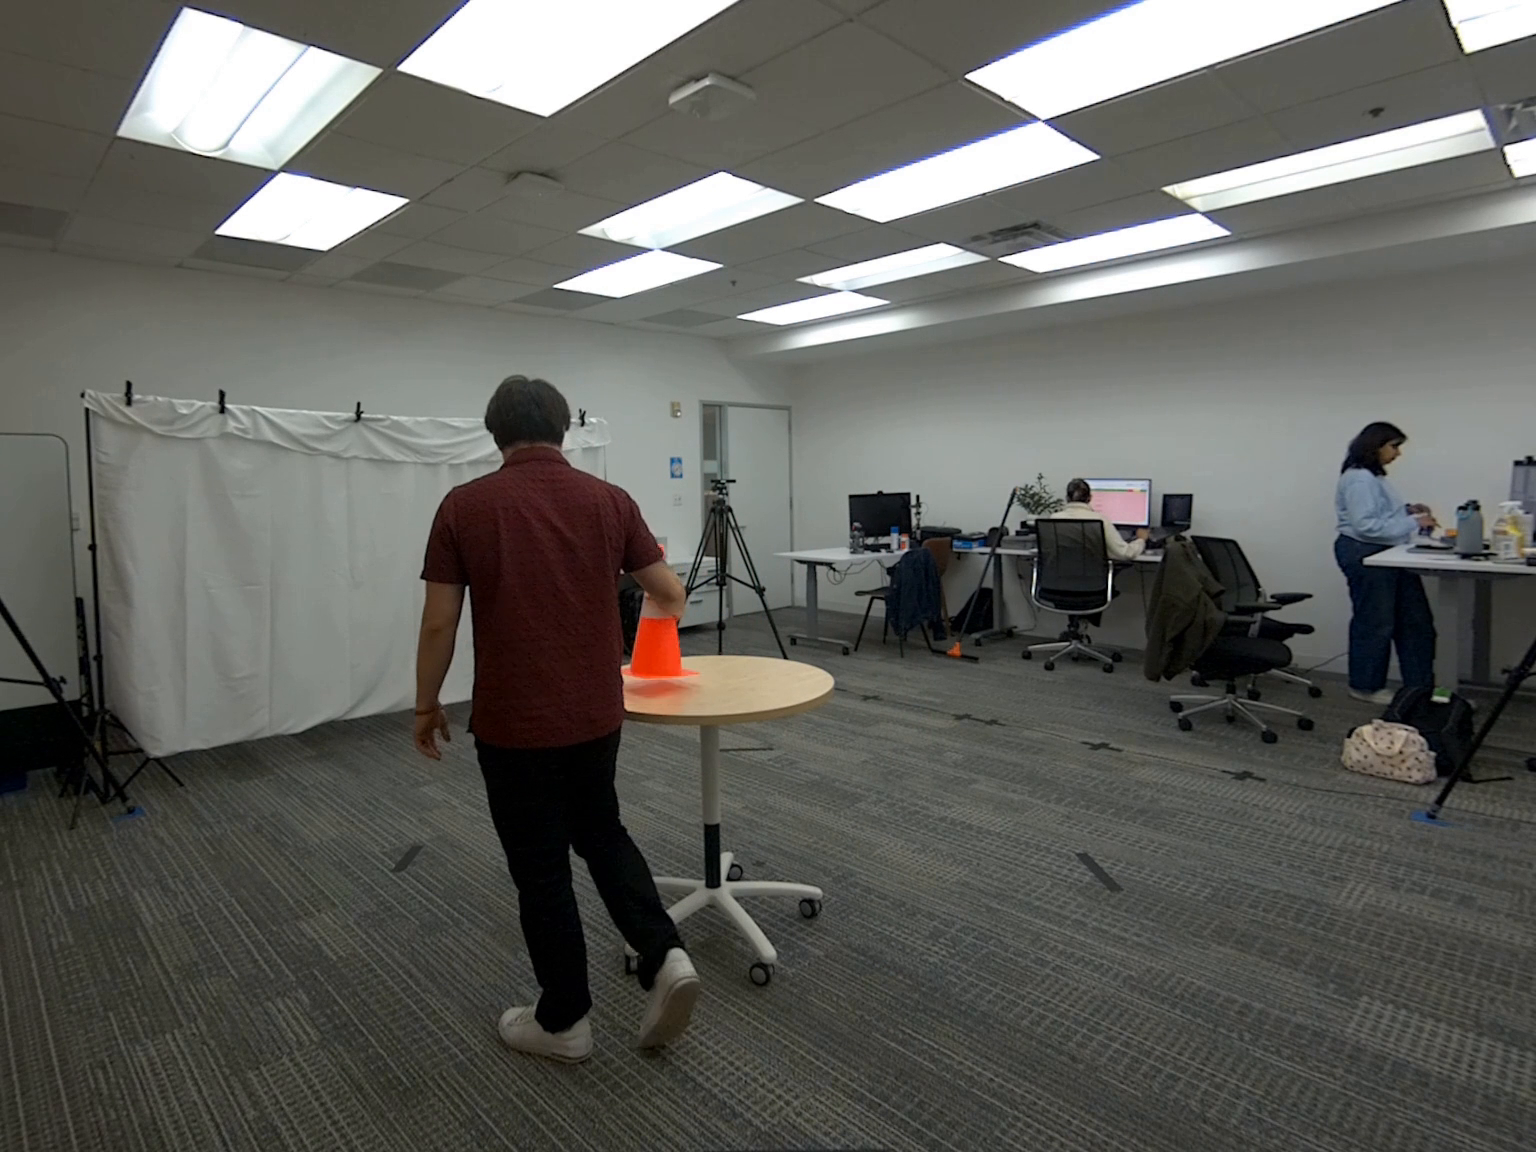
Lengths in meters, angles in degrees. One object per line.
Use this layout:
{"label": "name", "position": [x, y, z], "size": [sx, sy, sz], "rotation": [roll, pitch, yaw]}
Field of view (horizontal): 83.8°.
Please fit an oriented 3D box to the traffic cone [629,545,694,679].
{"label": "traffic cone", "position": [-0.337, 0.092, 2.546], "size": [0.199, 0.383, 0.209], "rotation": [-3, 3, -45]}
